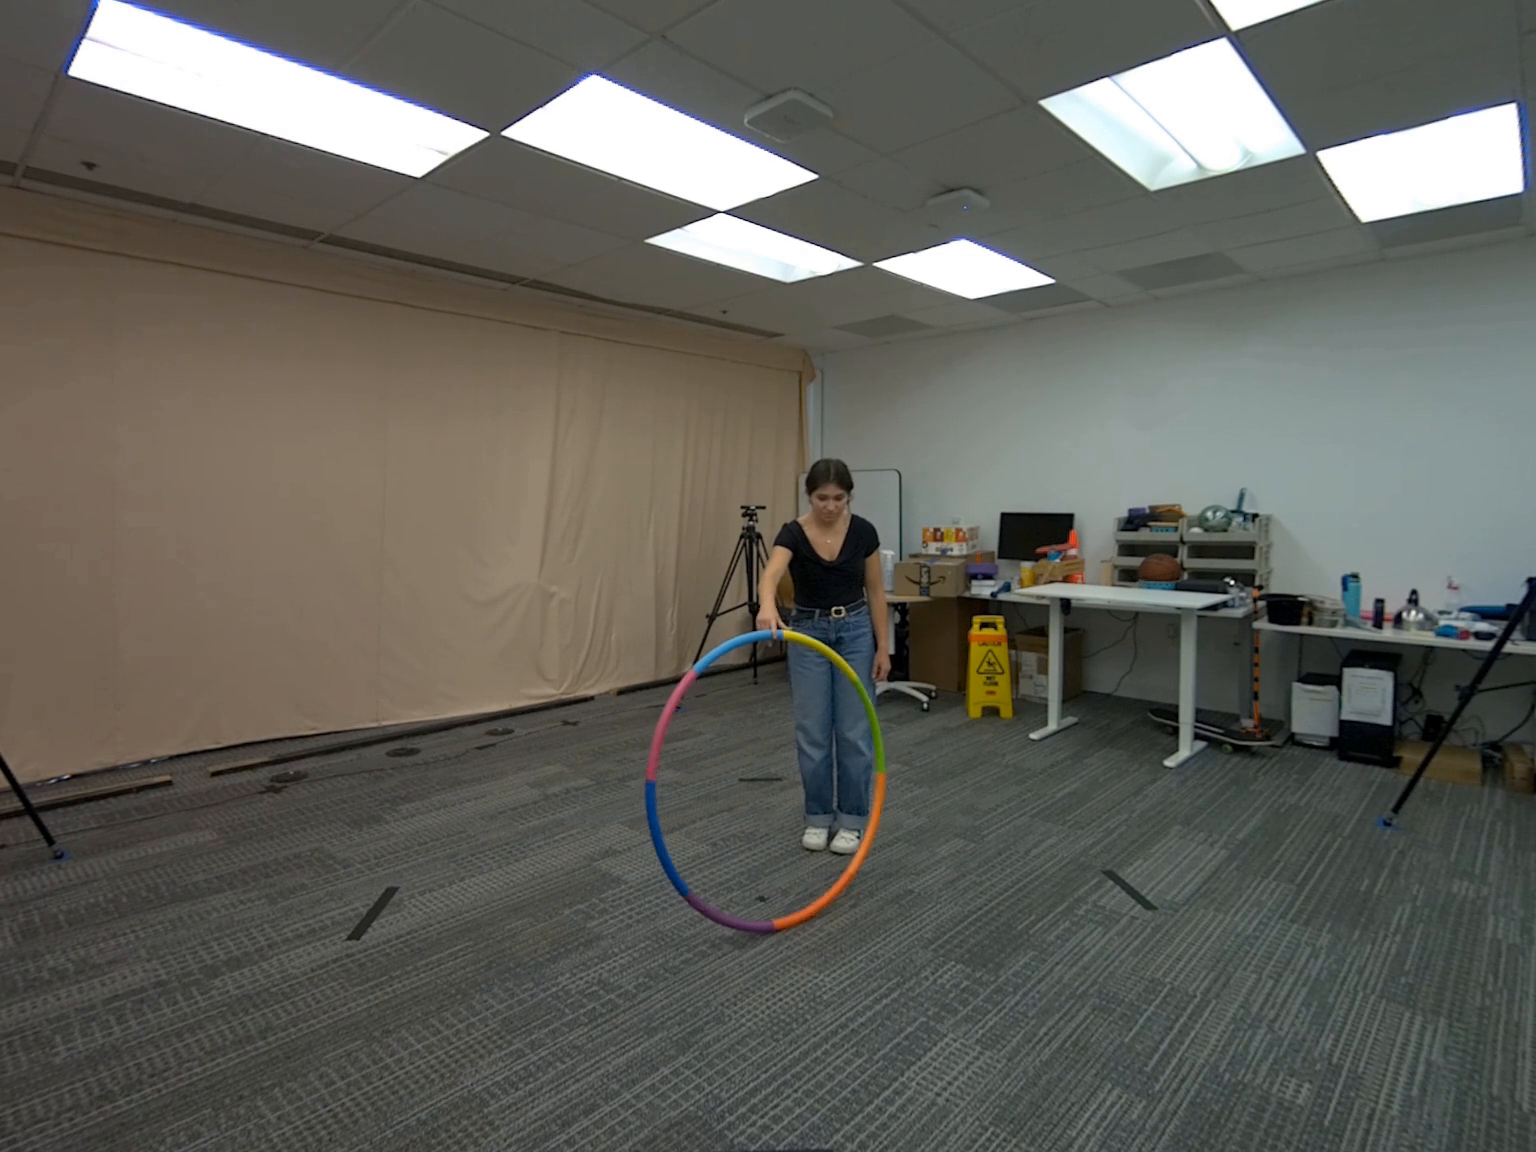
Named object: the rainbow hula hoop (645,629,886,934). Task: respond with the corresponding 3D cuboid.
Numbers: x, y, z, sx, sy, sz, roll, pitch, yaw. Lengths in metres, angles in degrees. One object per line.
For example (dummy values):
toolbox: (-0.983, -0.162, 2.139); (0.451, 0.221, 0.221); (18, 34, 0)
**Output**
rainbow hula hoop: (0.033, 0.679, 2.815); (0.950, 0.981, 0.036); (-3, -4, -35)
